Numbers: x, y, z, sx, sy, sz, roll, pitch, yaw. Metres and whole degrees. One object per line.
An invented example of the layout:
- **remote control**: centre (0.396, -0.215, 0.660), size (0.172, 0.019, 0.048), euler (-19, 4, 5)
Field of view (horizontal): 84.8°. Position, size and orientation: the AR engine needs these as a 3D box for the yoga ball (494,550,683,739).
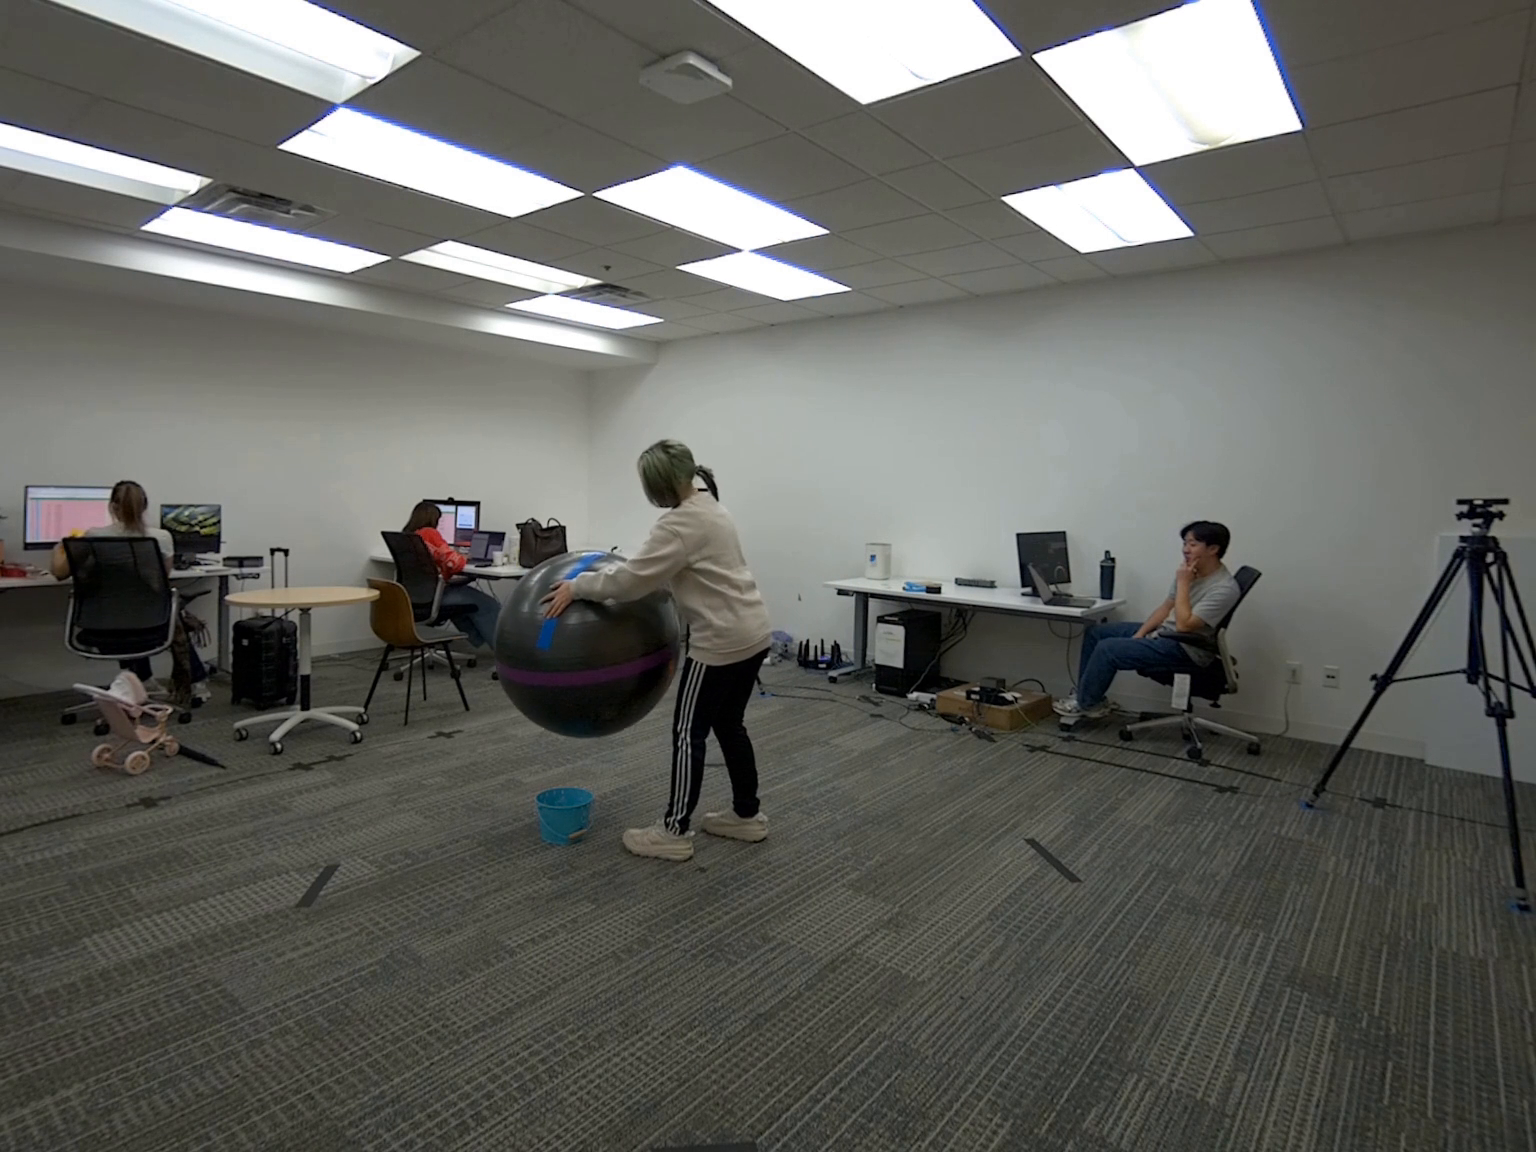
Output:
- **yoga ball**: centre (-0.751, 0.279, 3.492), size (0.757, 0.755, 0.762), euler (1, 4, -2)
